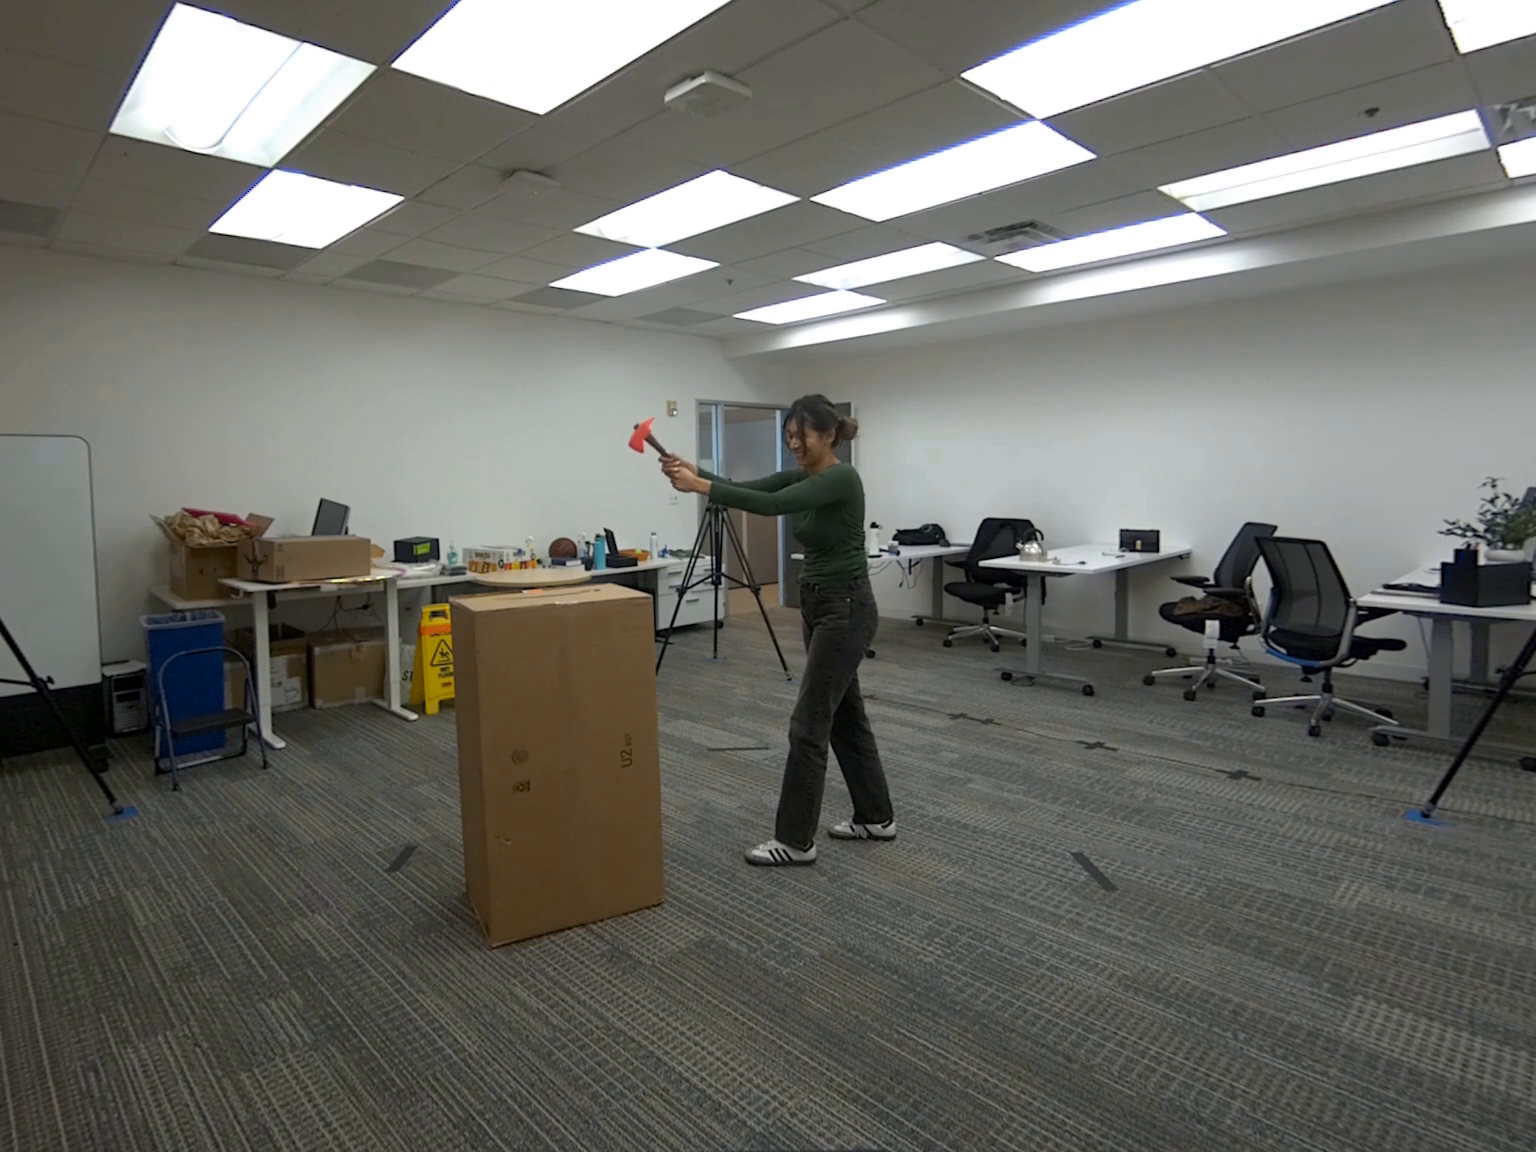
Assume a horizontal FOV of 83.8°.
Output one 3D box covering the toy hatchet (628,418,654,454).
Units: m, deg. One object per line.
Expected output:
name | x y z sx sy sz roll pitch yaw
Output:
toy hatchet | -0.376 -0.401 2.899 0.130 0.265 0.030 -36 17 -27
